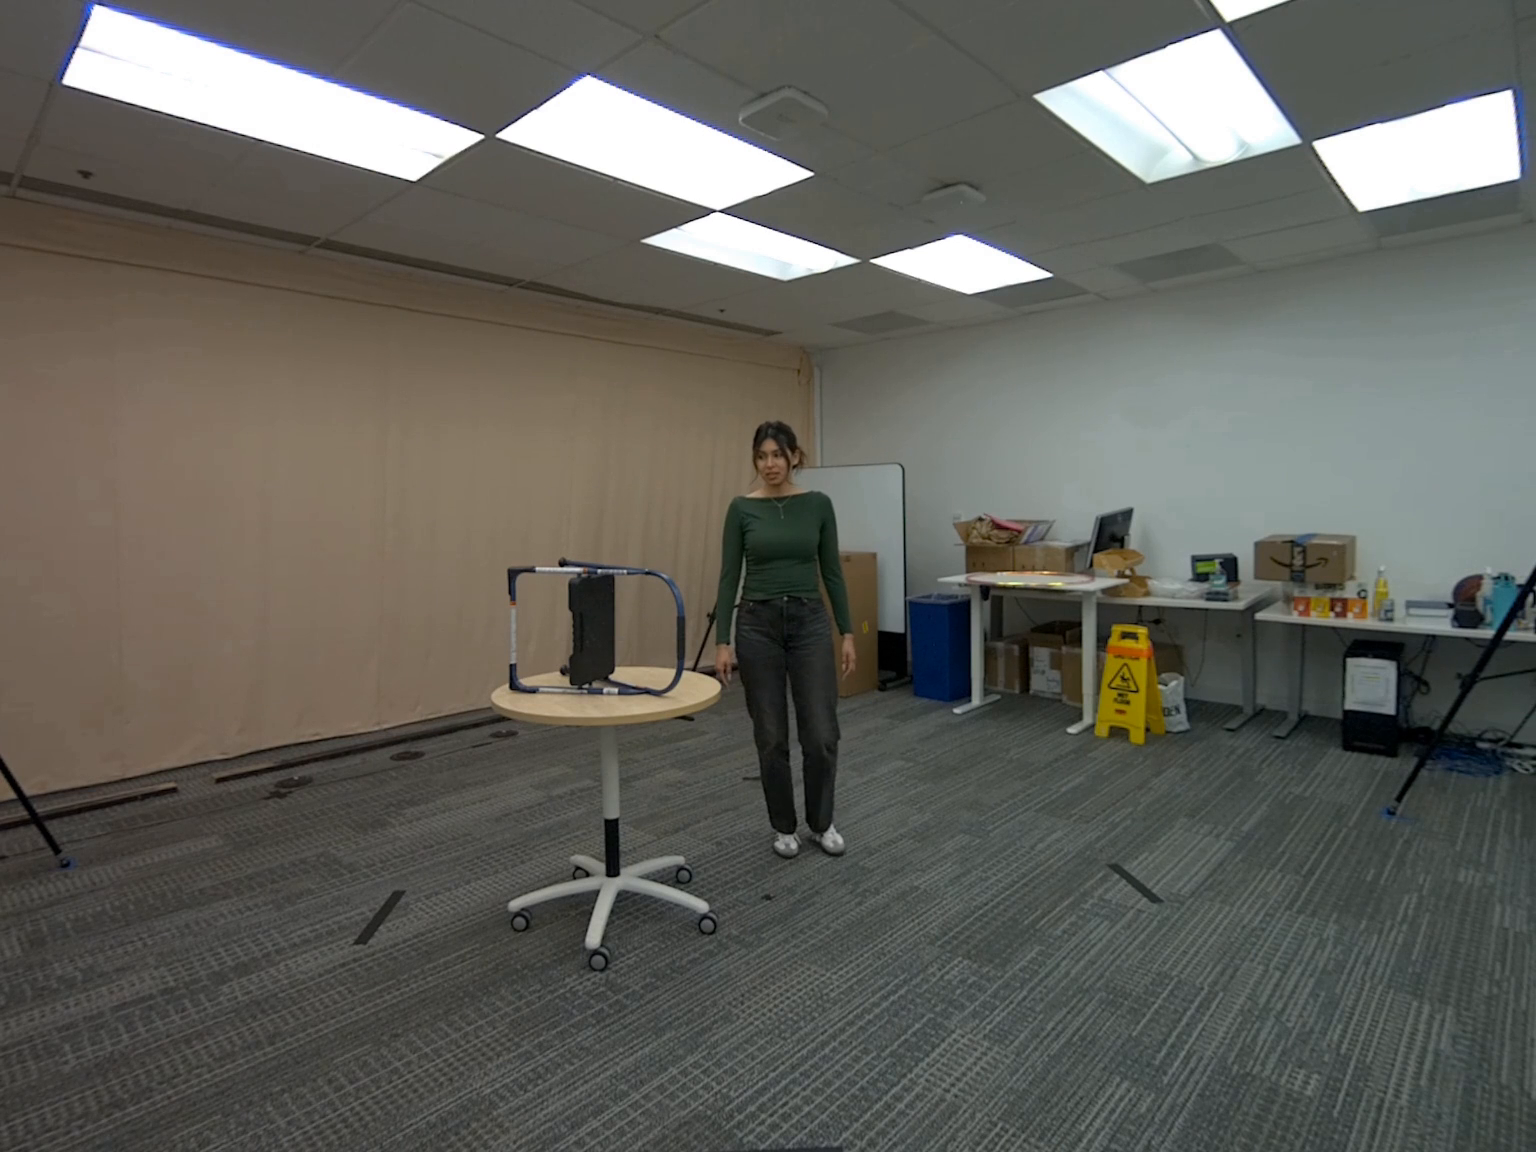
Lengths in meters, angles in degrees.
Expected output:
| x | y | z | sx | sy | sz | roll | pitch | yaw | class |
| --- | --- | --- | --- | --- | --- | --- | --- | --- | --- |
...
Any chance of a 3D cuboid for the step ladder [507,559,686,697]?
| x | y | z | sx | sy | sz | roll | pitch | yaw | class |
| --- | --- | --- | --- | --- | --- | --- | --- | --- | --- |
| -0.519 | 0.172 | 2.823 | 0.620 | 0.429 | 0.342 | 2 | 5 | 23 | step ladder |
